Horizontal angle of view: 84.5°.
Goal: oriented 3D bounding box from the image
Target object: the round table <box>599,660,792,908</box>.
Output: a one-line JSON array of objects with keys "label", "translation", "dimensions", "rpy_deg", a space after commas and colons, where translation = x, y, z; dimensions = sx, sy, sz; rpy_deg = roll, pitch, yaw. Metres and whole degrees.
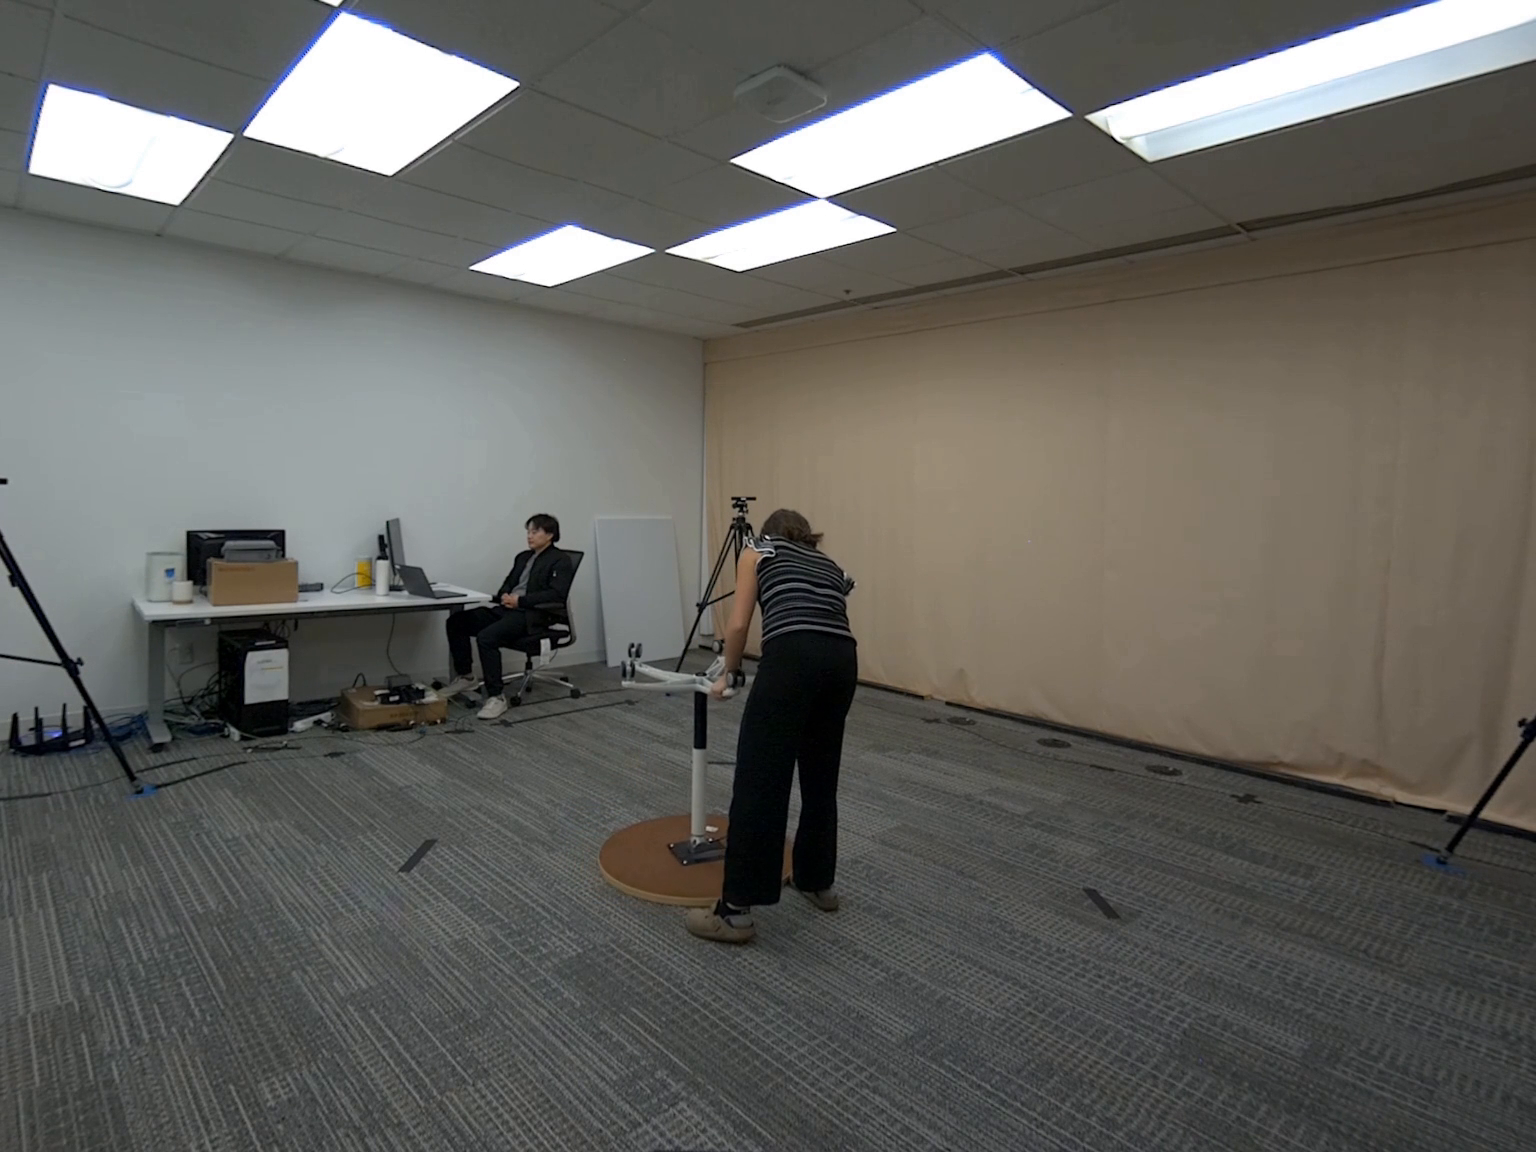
[{"label": "round table", "translation": [-0.281, 0.696, 3.227], "dimensions": [0.763, 0.792, 0.767], "rpy_deg": [0, 4, -1]}]
